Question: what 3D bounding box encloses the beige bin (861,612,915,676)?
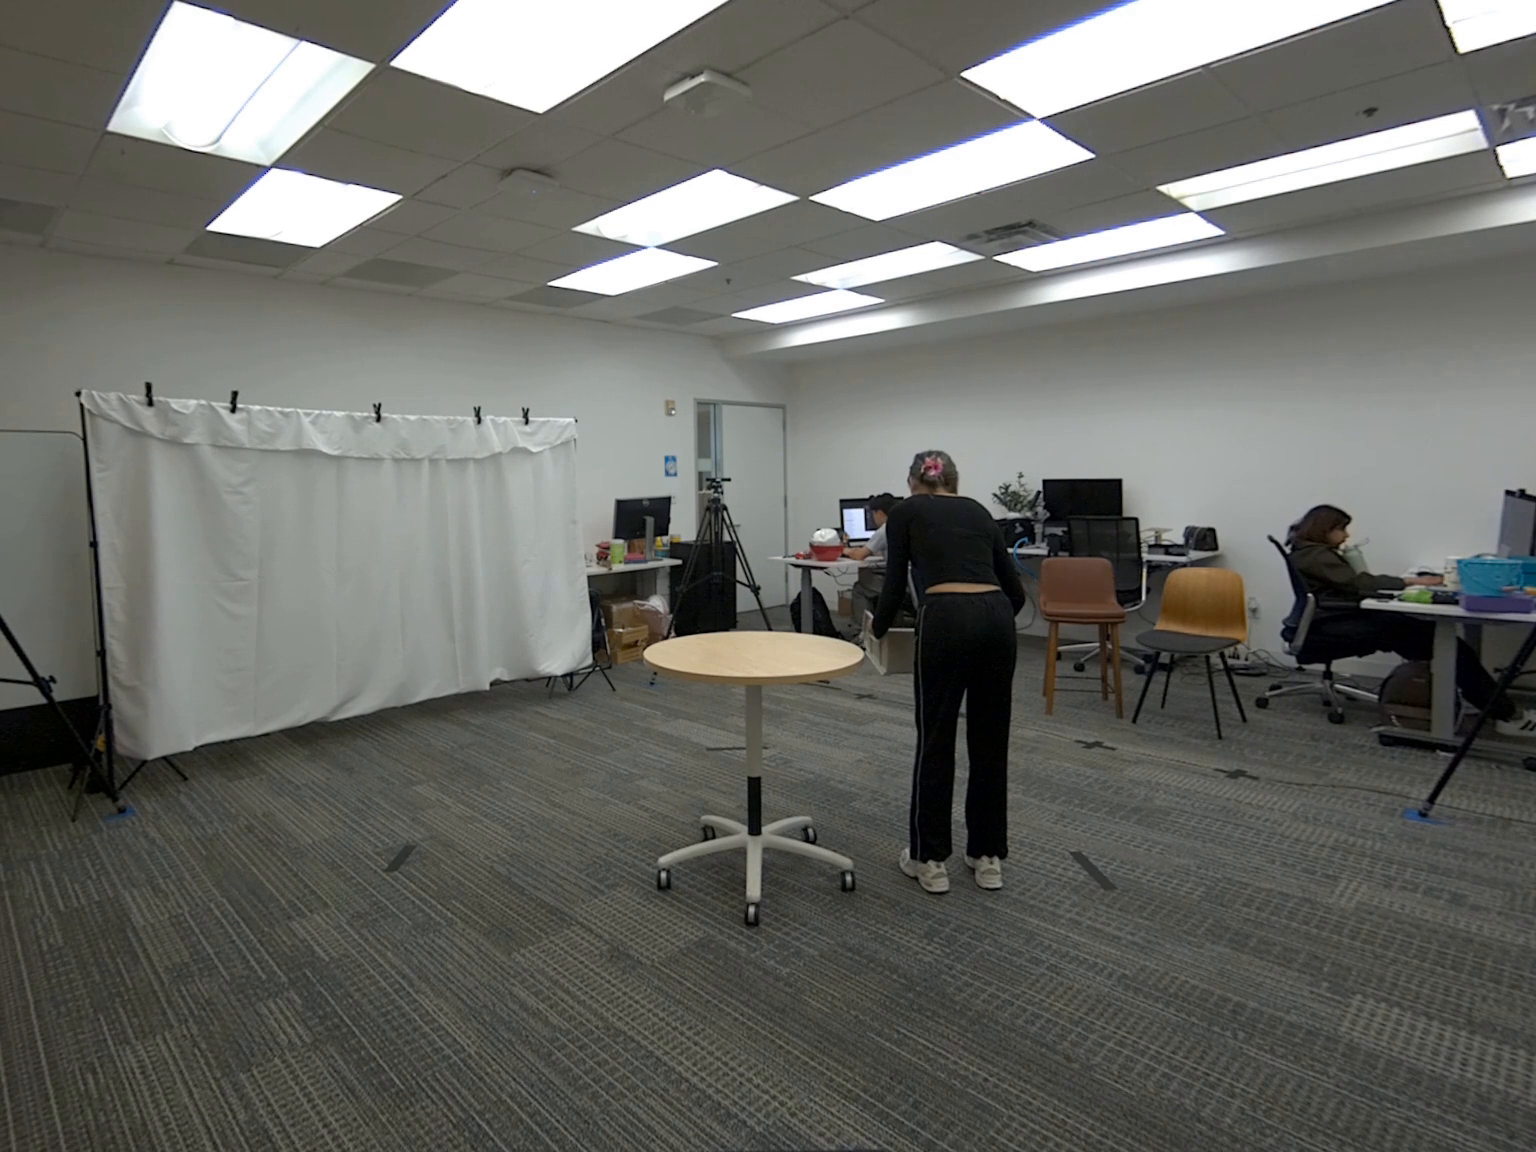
[{"bbox_3d":[0.620,0.255,3.393,0.421,0.187,0.382,0,10,-5],"label":"beige bin"}]
